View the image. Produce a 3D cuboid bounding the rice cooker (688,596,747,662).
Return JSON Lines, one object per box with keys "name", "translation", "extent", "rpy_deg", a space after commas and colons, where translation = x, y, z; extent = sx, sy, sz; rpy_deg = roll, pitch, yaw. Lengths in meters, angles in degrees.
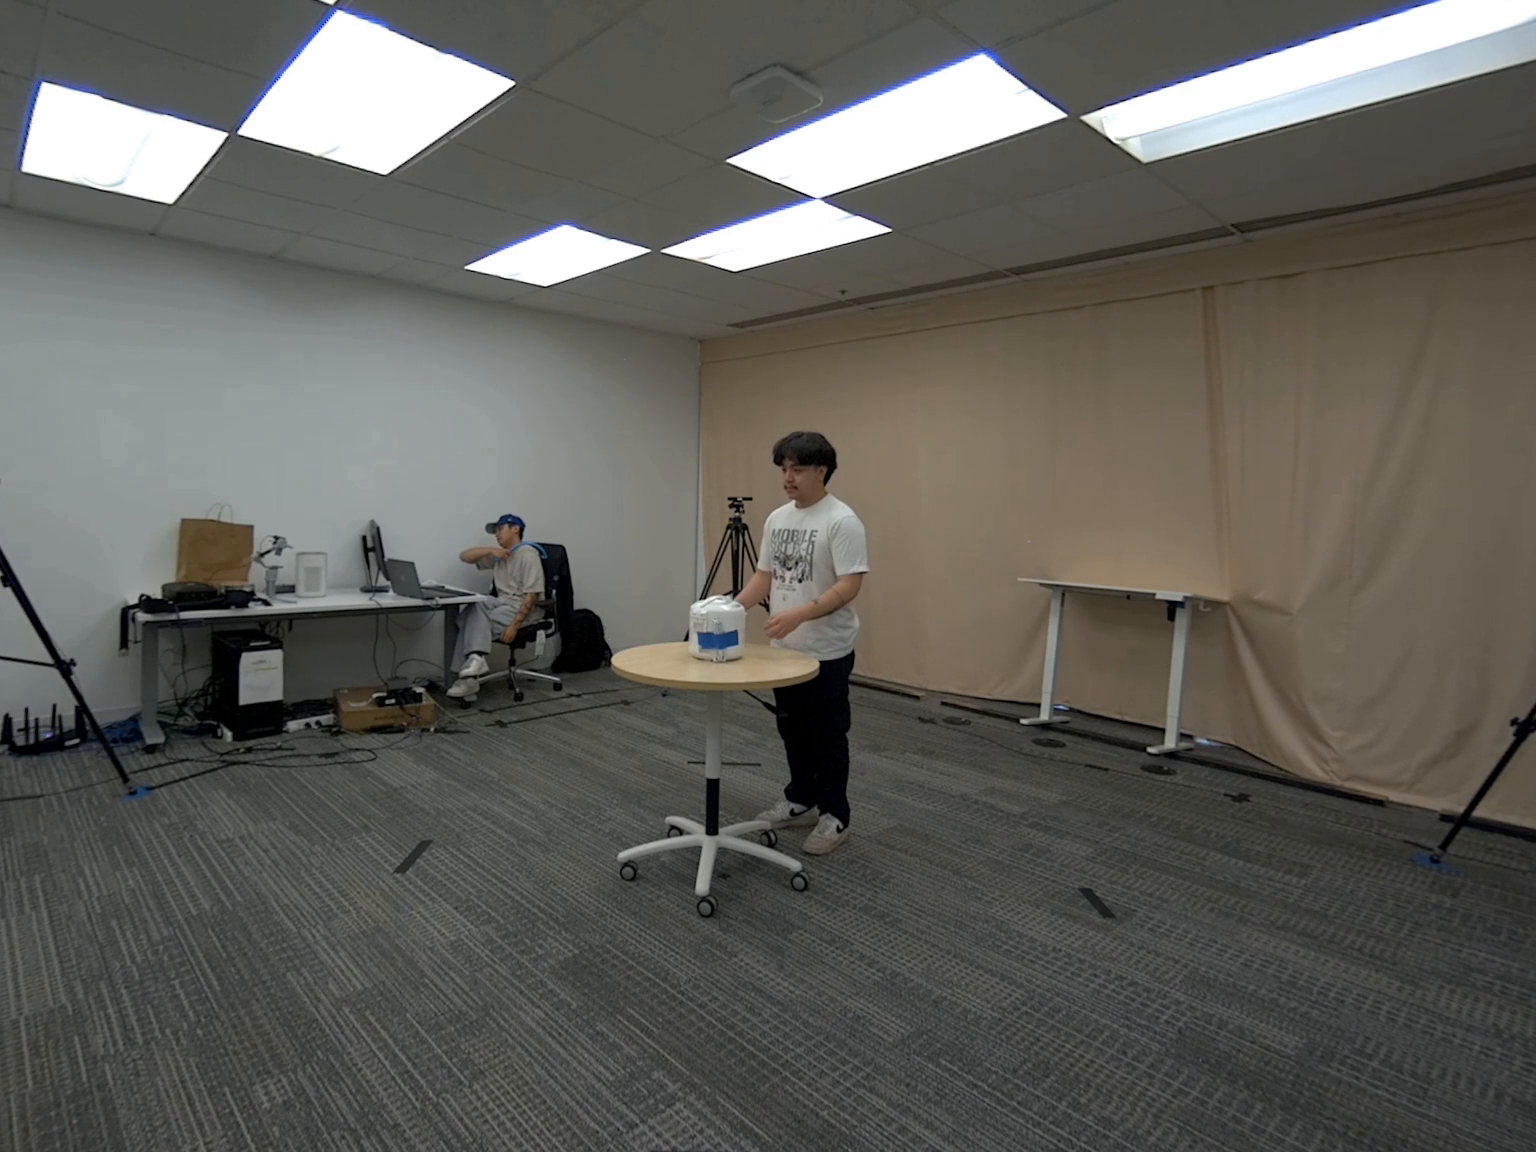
{"name": "rice cooker", "translation": [-0.202, 0.188, 3.145], "extent": [0.223, 0.232, 0.216], "rpy_deg": [5, 5, 37]}
